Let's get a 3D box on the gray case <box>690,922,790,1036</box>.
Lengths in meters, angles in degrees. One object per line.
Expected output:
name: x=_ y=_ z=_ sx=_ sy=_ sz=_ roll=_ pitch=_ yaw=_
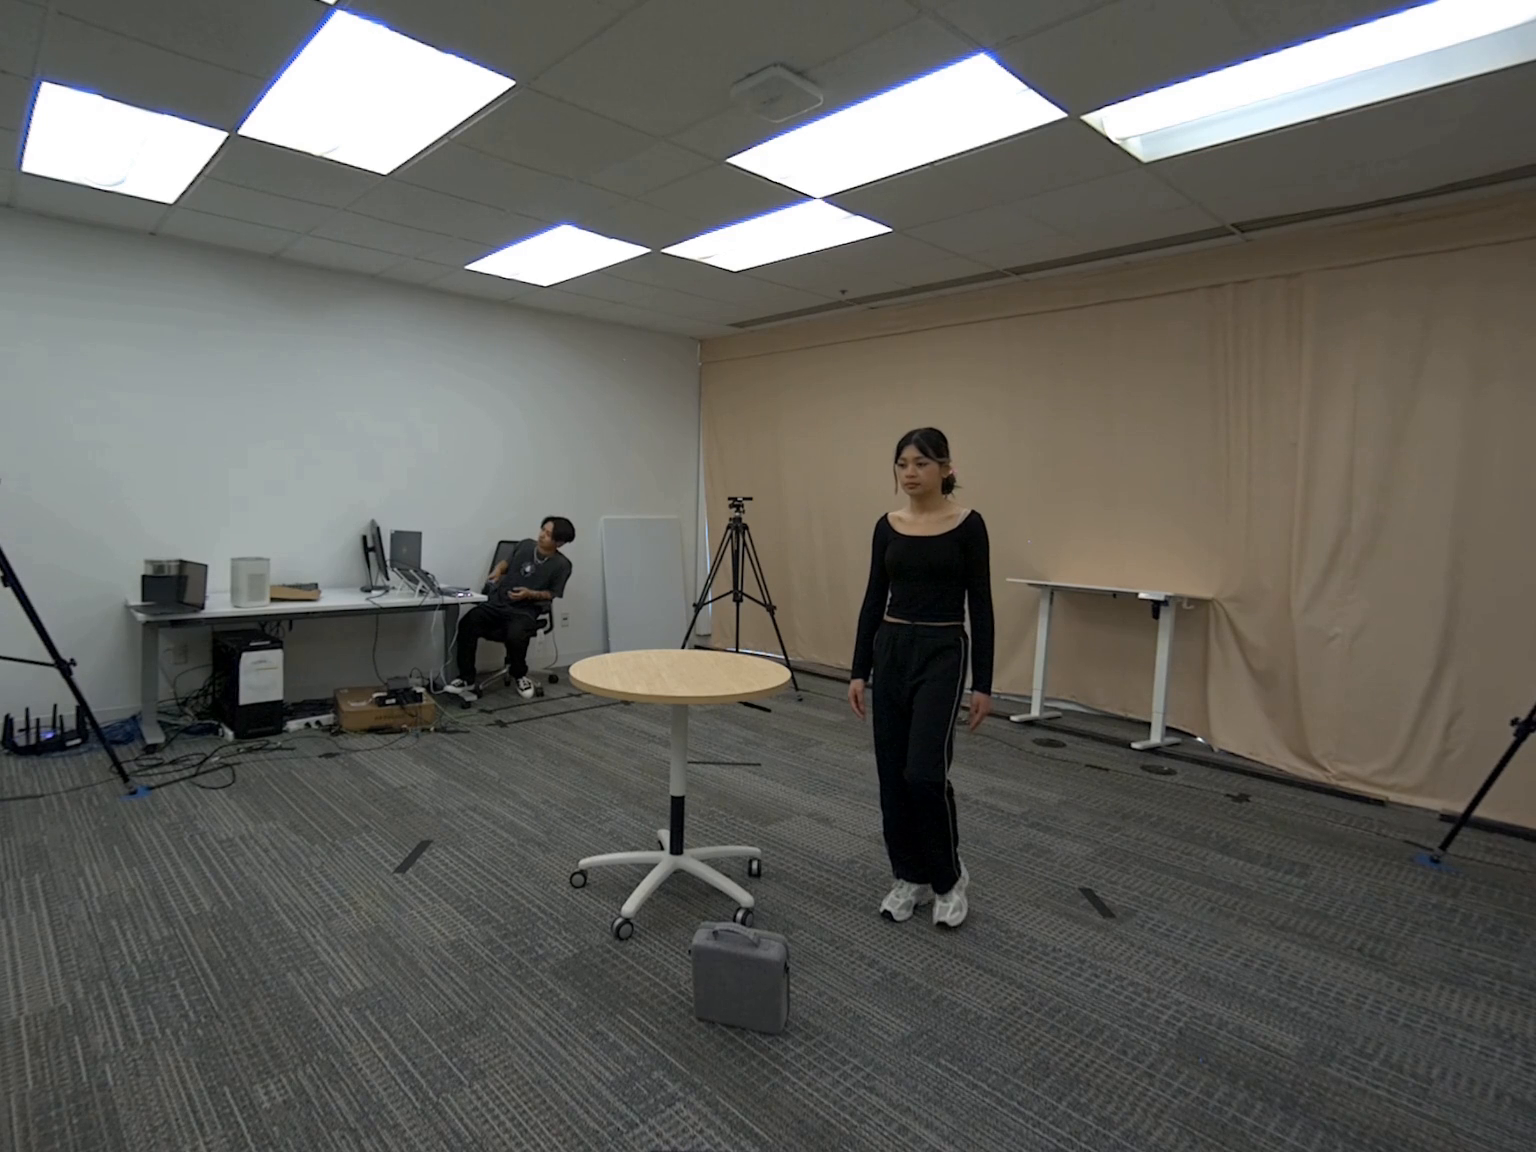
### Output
gray case: x=-0.075 y=1.060 z=2.224 sx=0.260 sy=0.258 sz=0.104 roll=2 pitch=14 yaw=16
